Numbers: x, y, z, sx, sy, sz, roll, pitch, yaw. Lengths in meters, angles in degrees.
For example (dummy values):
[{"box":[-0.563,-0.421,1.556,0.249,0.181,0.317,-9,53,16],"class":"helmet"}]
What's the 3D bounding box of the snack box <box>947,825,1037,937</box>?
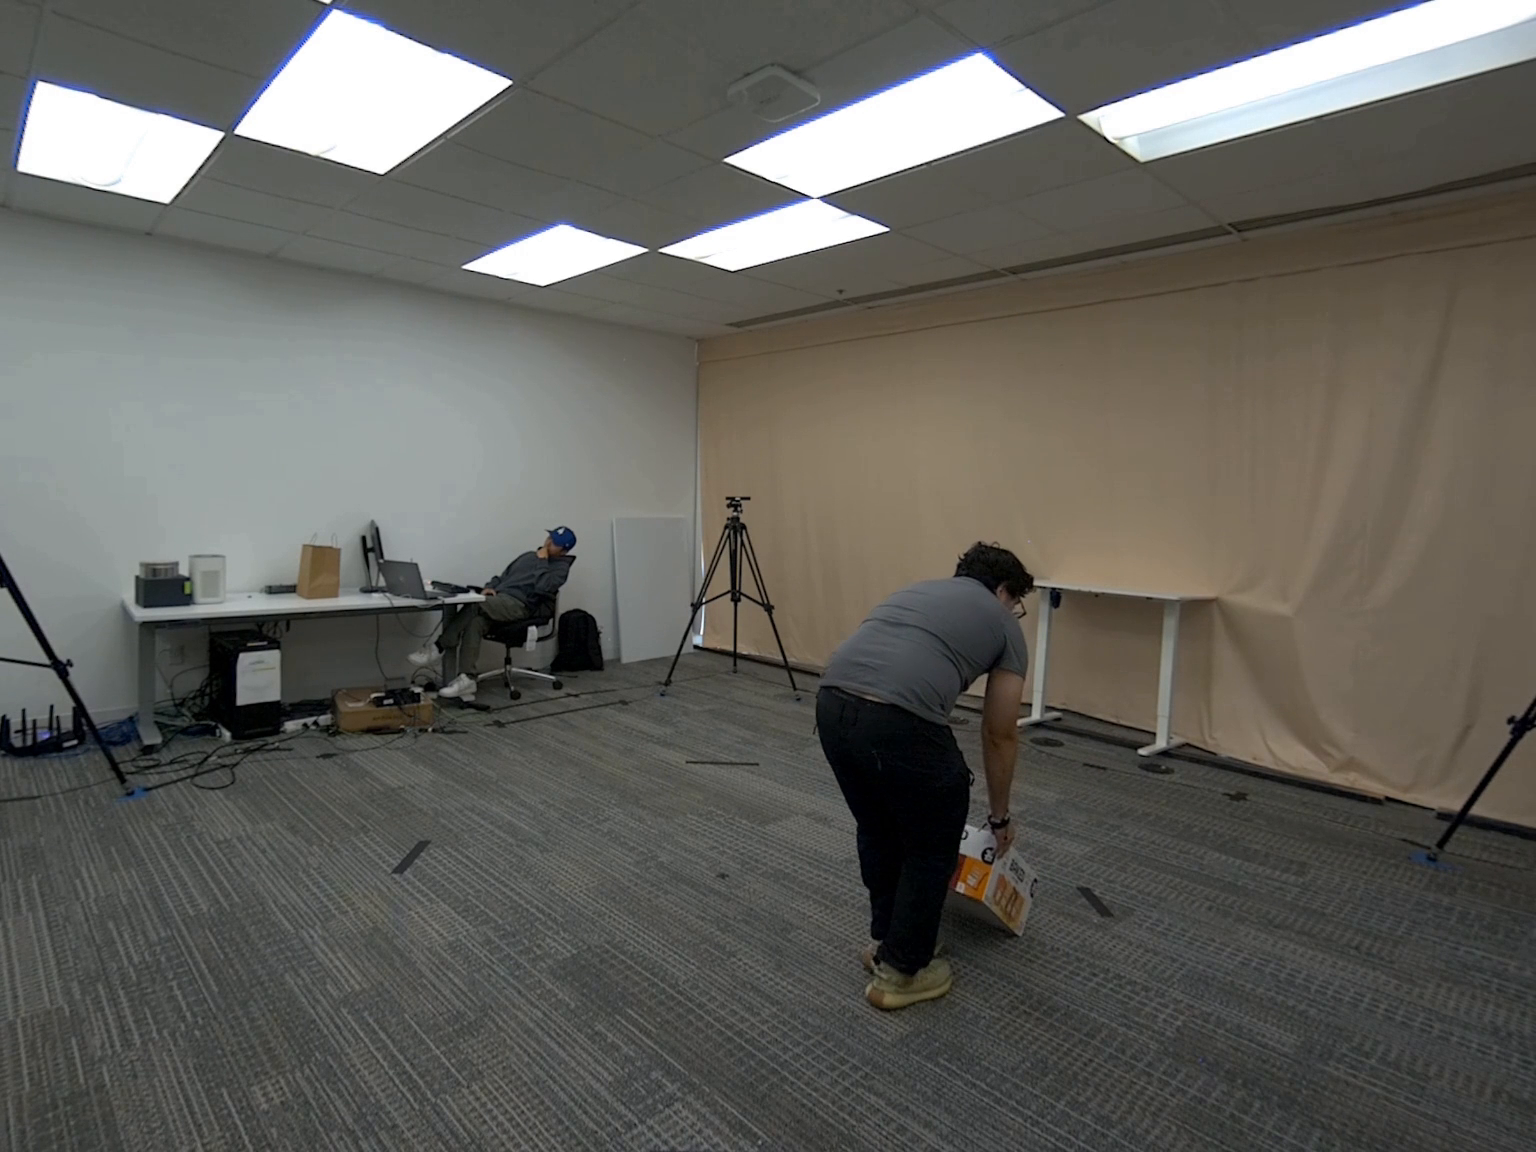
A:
[{"box":[0.629,0.960,2.737,0.349,0.207,0.392,8,-29,40],"class":"snack box"}]
